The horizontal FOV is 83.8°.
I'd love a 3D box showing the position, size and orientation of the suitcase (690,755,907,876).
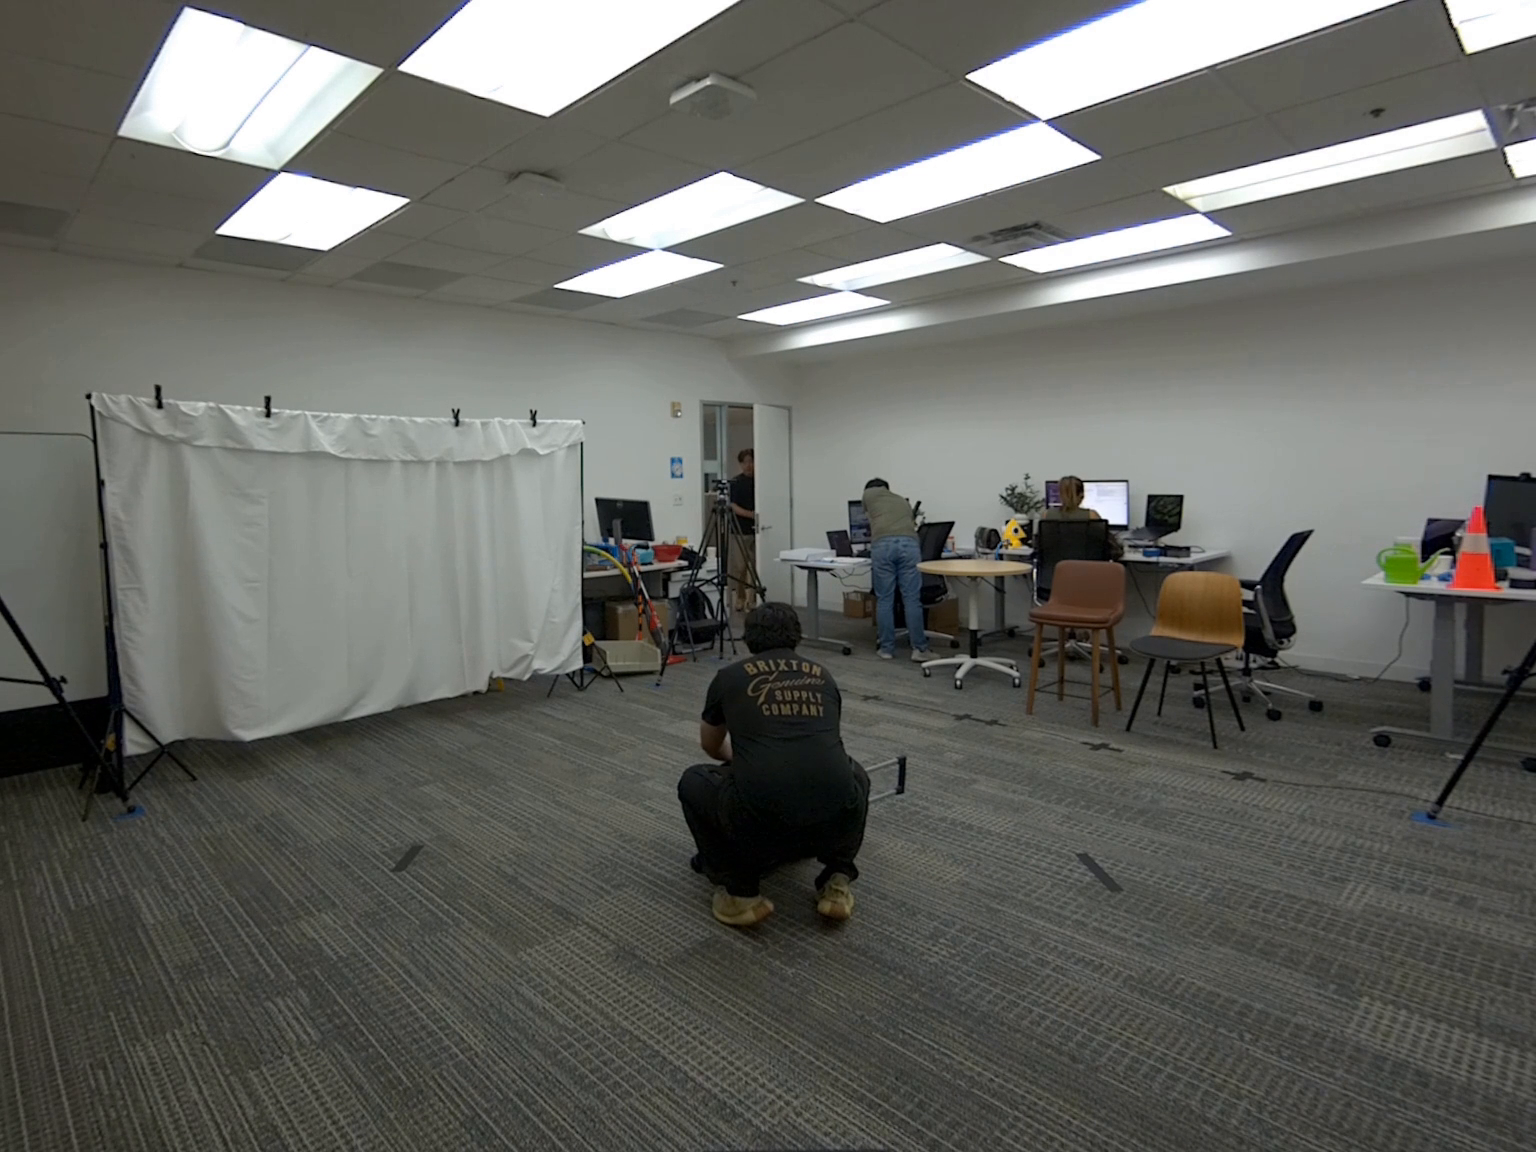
[{"bbox_3d":[0.145,0.838,3.299,0.265,0.382,0.953,5,8,44],"label":"suitcase"}]
